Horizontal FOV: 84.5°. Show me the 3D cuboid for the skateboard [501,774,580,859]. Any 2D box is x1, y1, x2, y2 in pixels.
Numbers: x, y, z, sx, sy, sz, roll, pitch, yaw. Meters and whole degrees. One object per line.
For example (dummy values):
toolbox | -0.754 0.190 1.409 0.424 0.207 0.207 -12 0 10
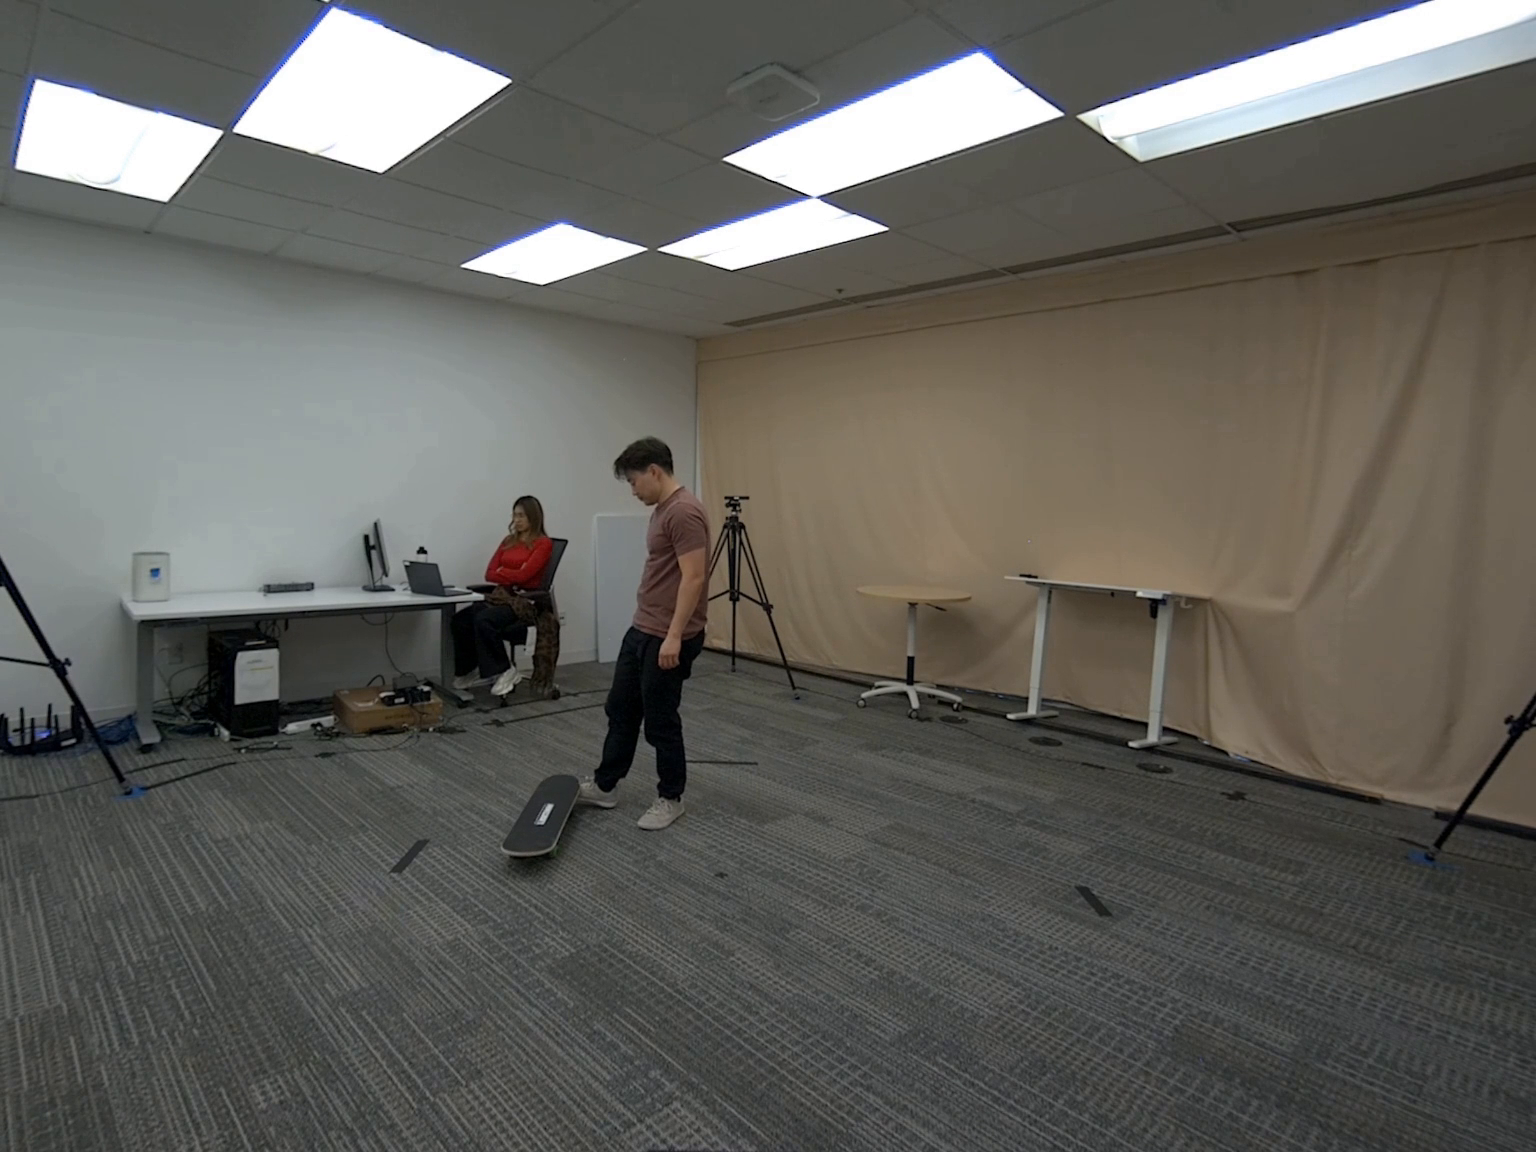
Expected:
skateboard | -0.914 0.998 3.408 0.193 0.110 0.789 3 6 -3
